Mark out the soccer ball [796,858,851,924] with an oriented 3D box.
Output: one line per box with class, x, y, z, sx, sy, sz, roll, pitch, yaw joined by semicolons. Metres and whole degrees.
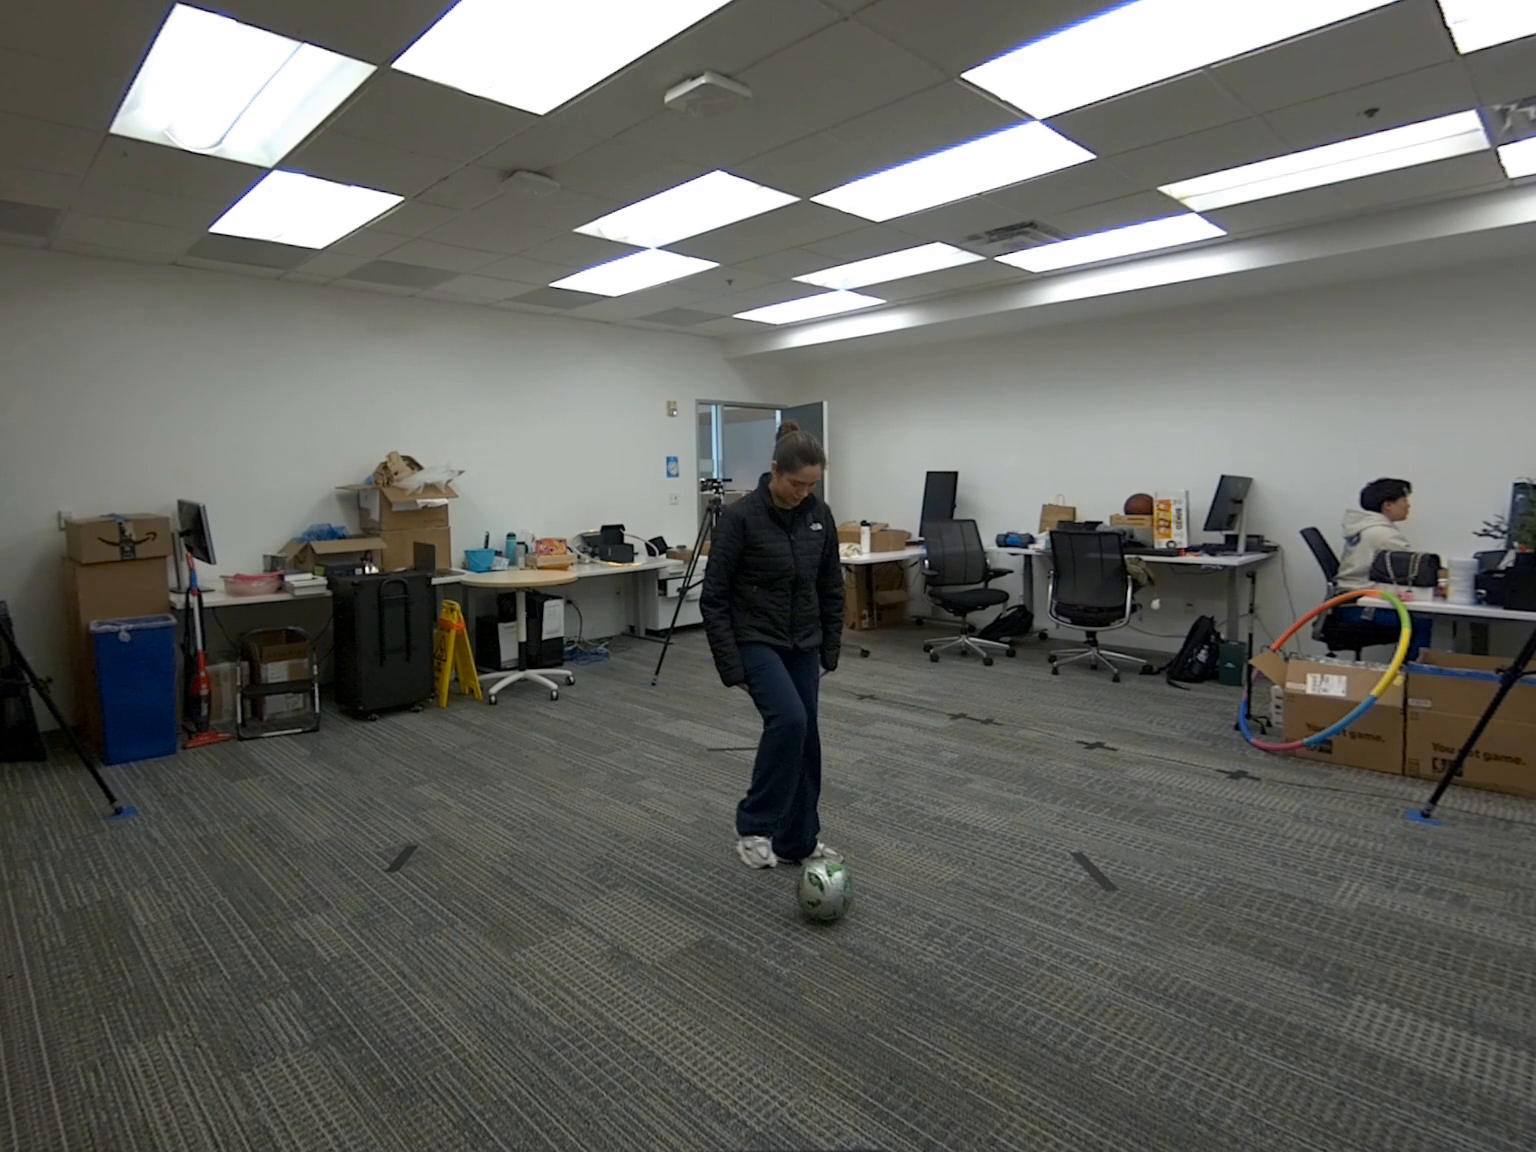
soccer ball;0.182;0.996;2.712;0.187;0.187;0.188;-1;5;-2
